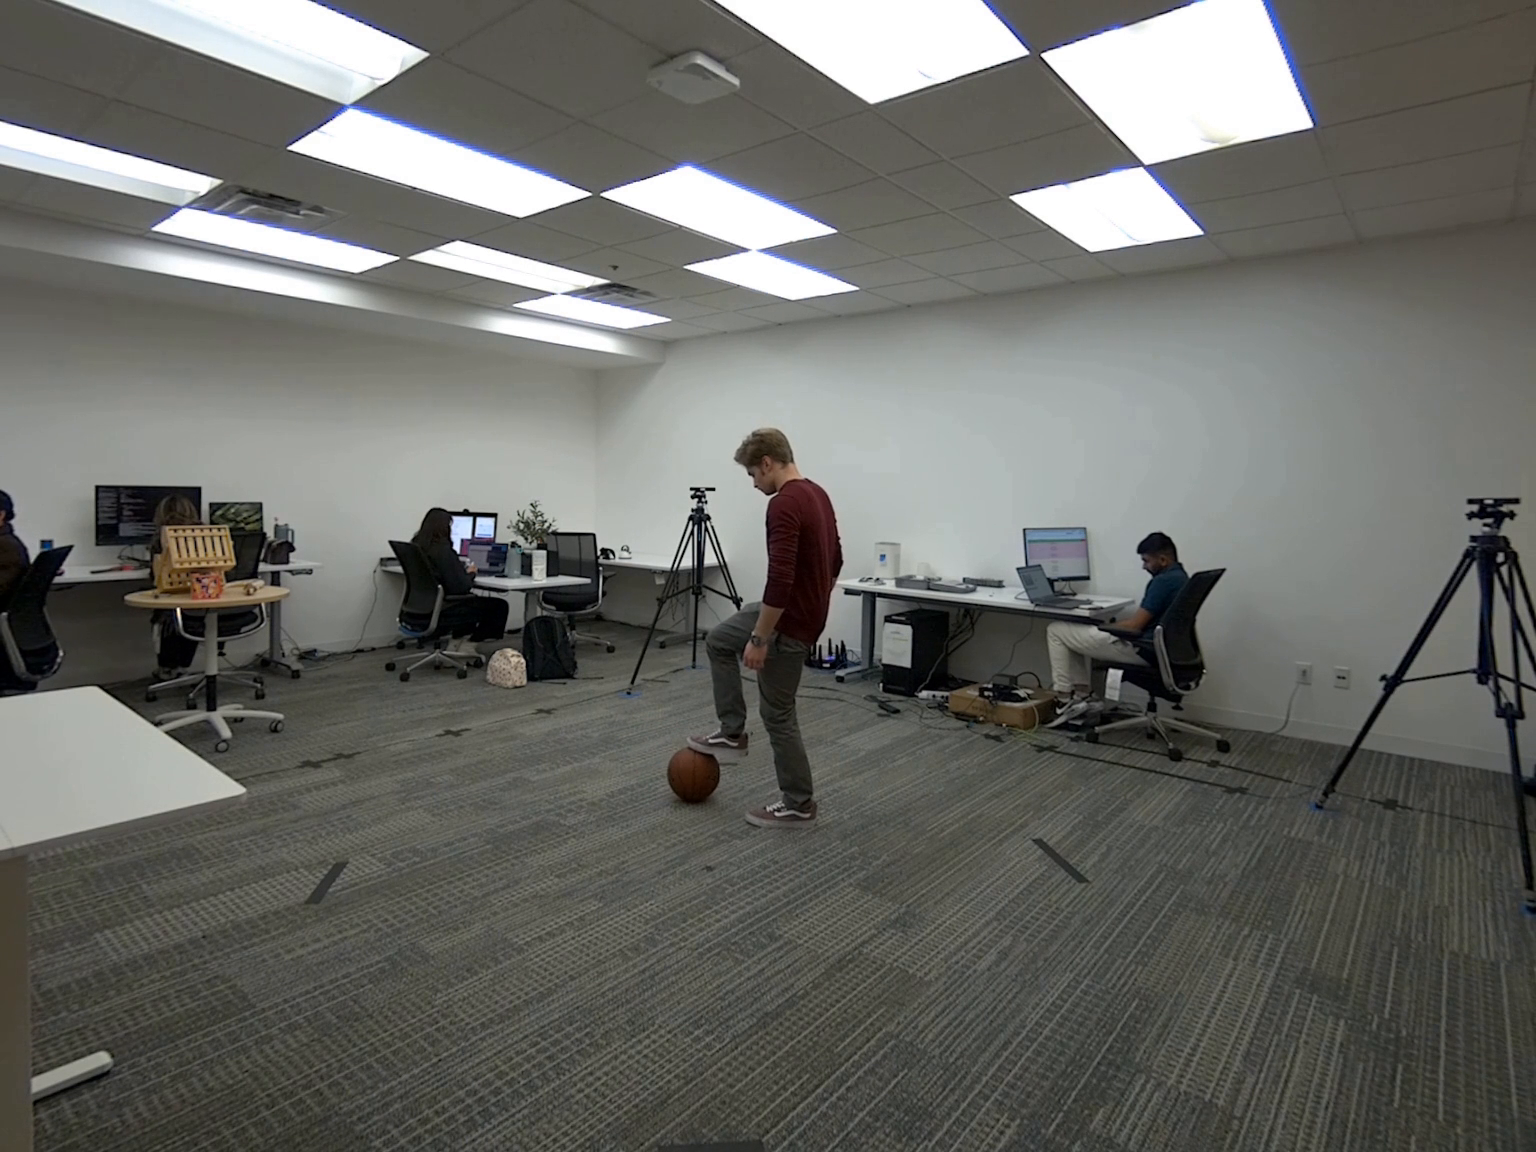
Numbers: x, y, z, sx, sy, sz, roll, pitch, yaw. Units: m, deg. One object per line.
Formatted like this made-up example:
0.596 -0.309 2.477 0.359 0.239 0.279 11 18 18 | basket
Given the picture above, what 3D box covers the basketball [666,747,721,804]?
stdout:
-0.349 0.877 3.805 0.235 0.235 0.237 1 4 -2 | basketball
